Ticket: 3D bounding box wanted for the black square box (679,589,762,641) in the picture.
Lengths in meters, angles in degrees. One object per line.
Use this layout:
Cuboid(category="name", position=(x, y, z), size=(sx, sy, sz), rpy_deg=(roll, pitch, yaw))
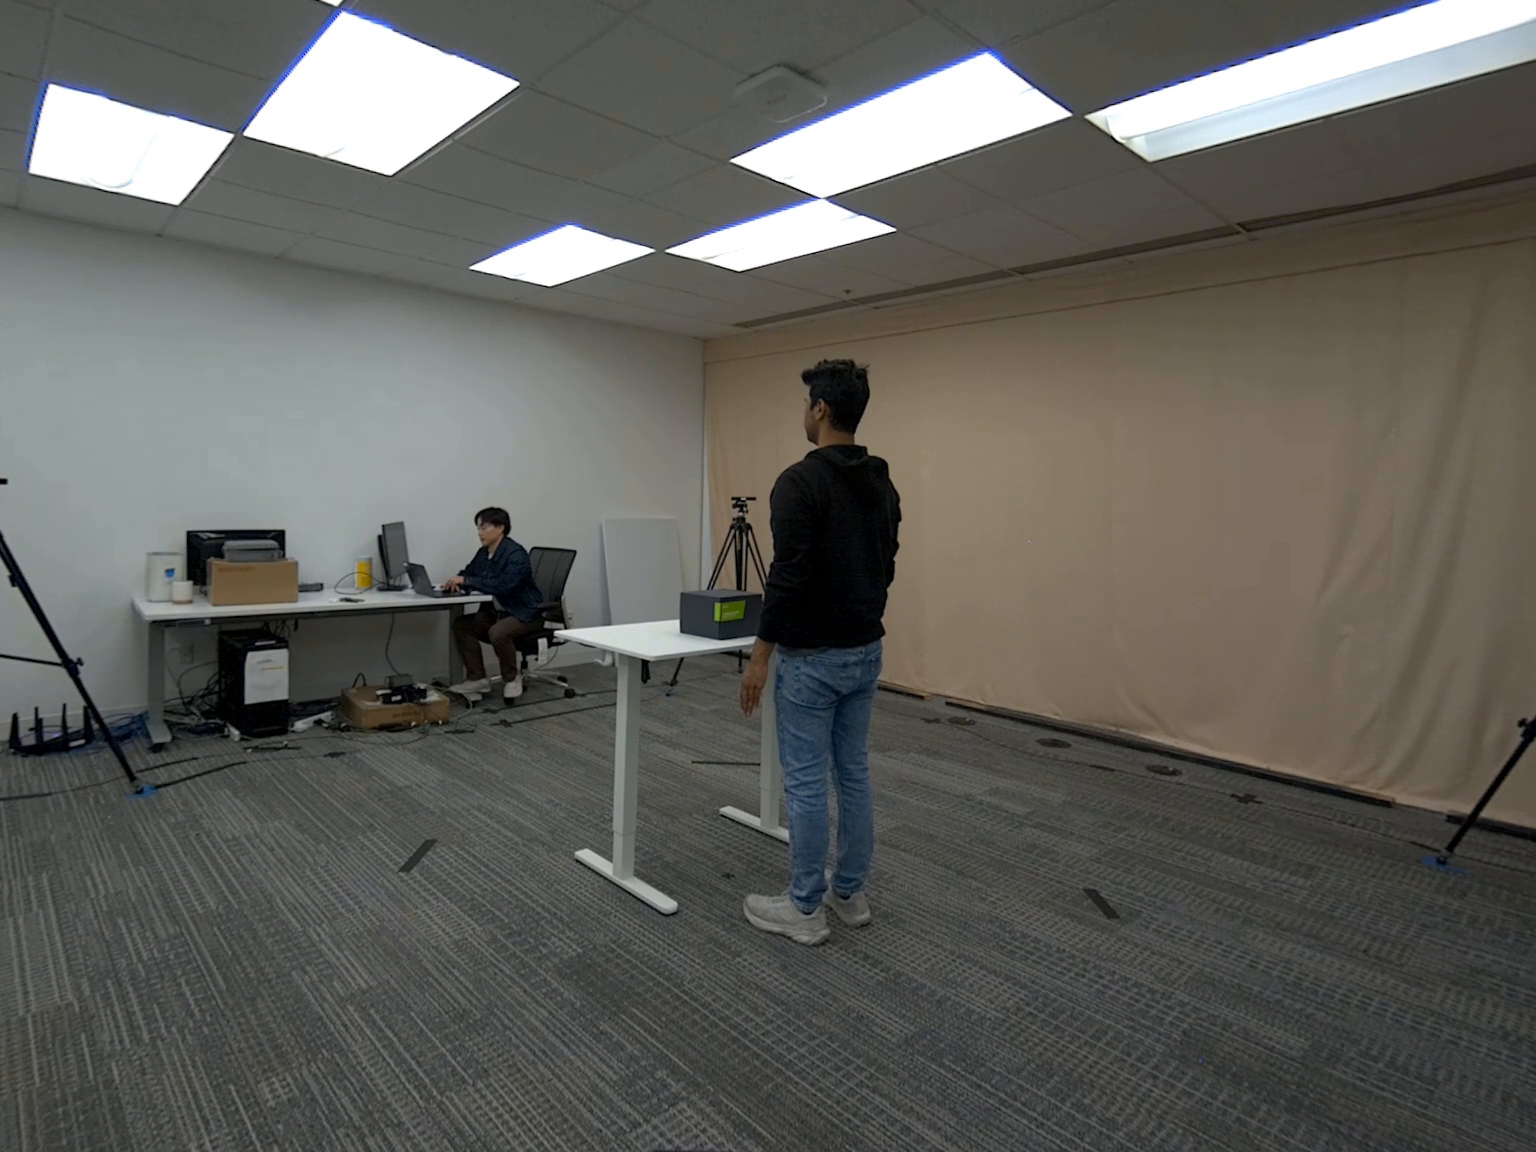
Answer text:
Cuboid(category="black square box", position=(-0.177, 0.139, 3.160), size=(0.222, 0.155, 0.223), rpy_deg=(6, 6, 41))
